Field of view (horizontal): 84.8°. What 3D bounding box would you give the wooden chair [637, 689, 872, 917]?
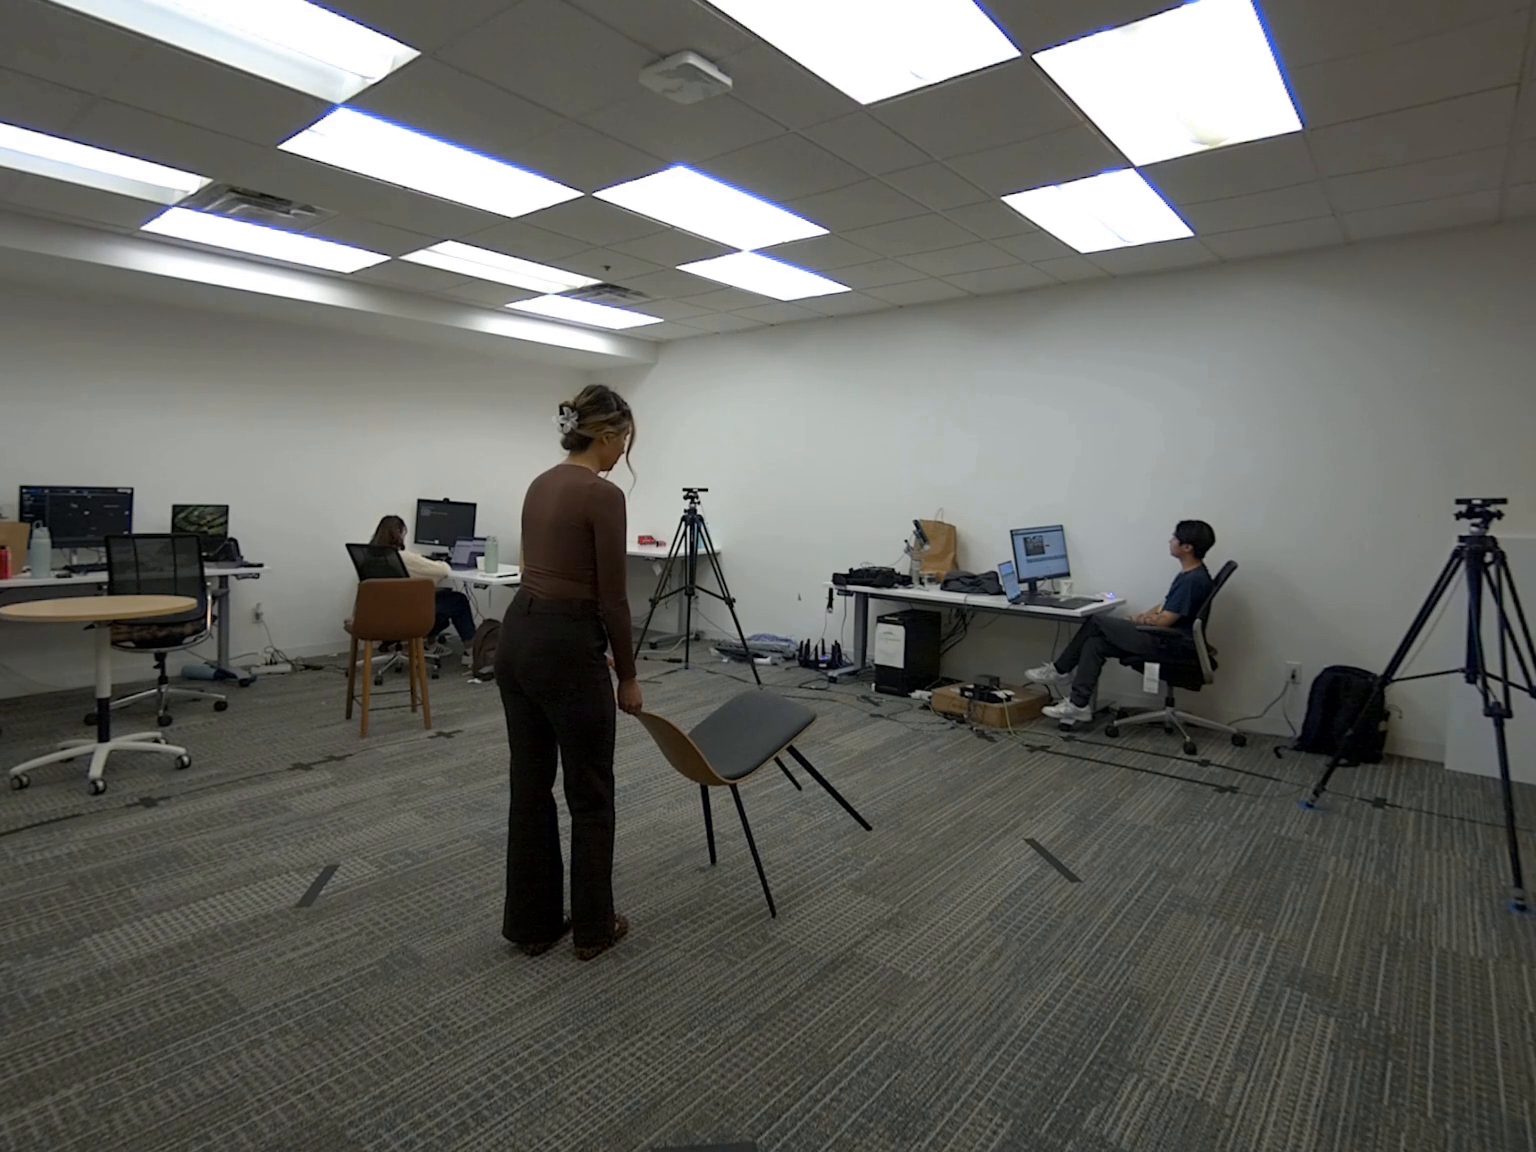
[{"bbox_3d":[-0.108,0.601,2.925,0.520,0.857,0.492,-38,19,-22],"label":"wooden chair"}]
